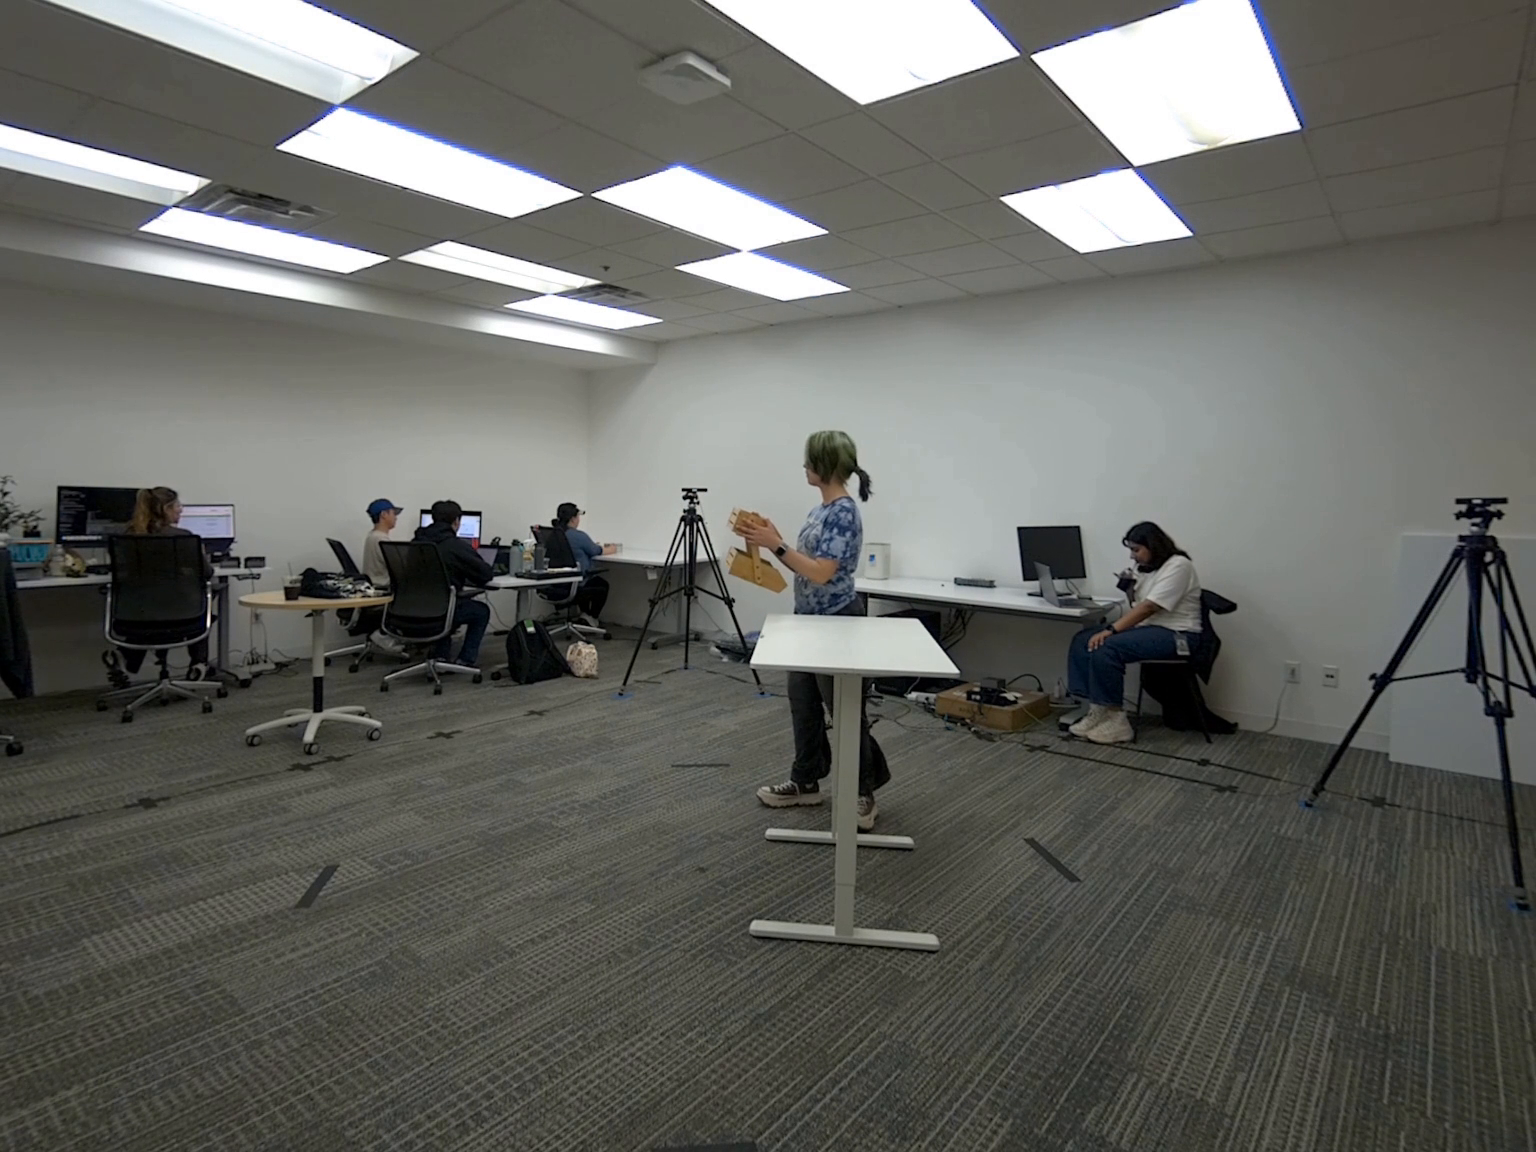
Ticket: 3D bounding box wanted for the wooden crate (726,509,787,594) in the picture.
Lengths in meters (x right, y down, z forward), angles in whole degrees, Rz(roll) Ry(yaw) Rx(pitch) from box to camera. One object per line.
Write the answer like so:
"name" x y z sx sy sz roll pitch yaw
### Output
"wooden crate" -0.029 -0.114 3.662 0.299 0.272 0.328 21 5 -8
